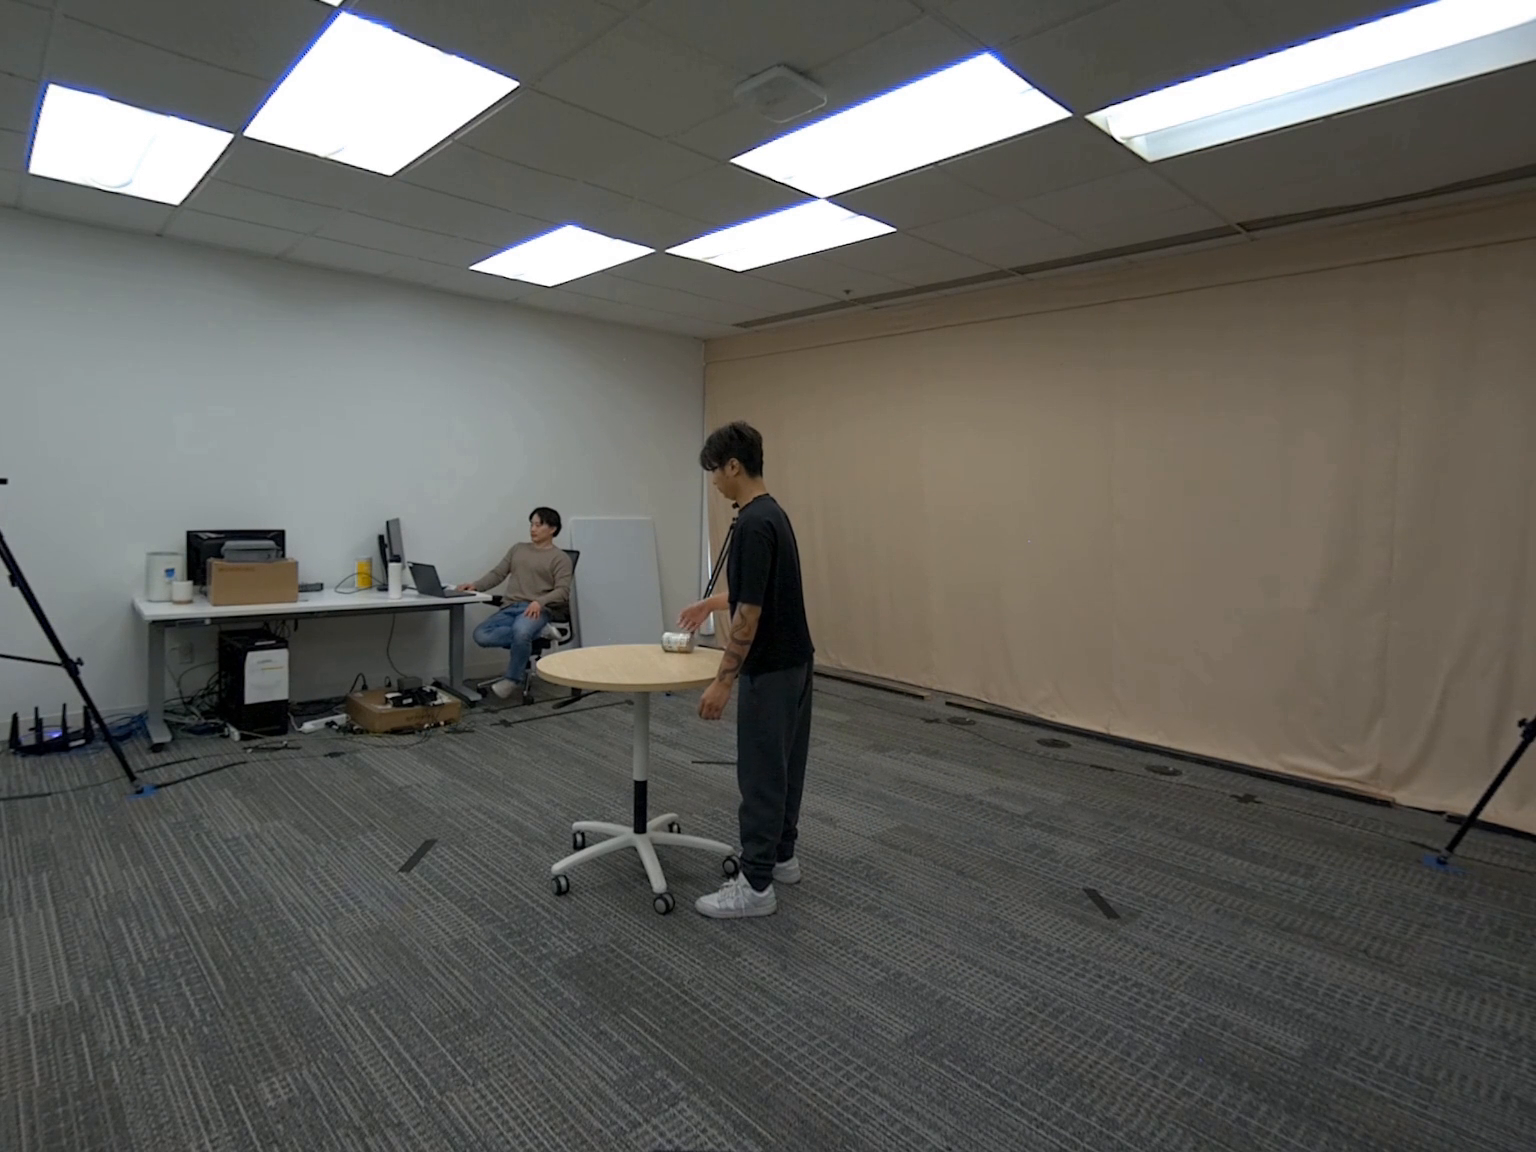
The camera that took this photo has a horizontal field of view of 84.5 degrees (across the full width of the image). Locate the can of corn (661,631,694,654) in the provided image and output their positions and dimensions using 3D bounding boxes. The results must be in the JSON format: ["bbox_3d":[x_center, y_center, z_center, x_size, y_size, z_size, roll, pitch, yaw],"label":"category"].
[{"bbox_3d":[-0.364,0.260,3.319,0.112,0.074,0.074,4,4,11],"label":"can of corn"}]
